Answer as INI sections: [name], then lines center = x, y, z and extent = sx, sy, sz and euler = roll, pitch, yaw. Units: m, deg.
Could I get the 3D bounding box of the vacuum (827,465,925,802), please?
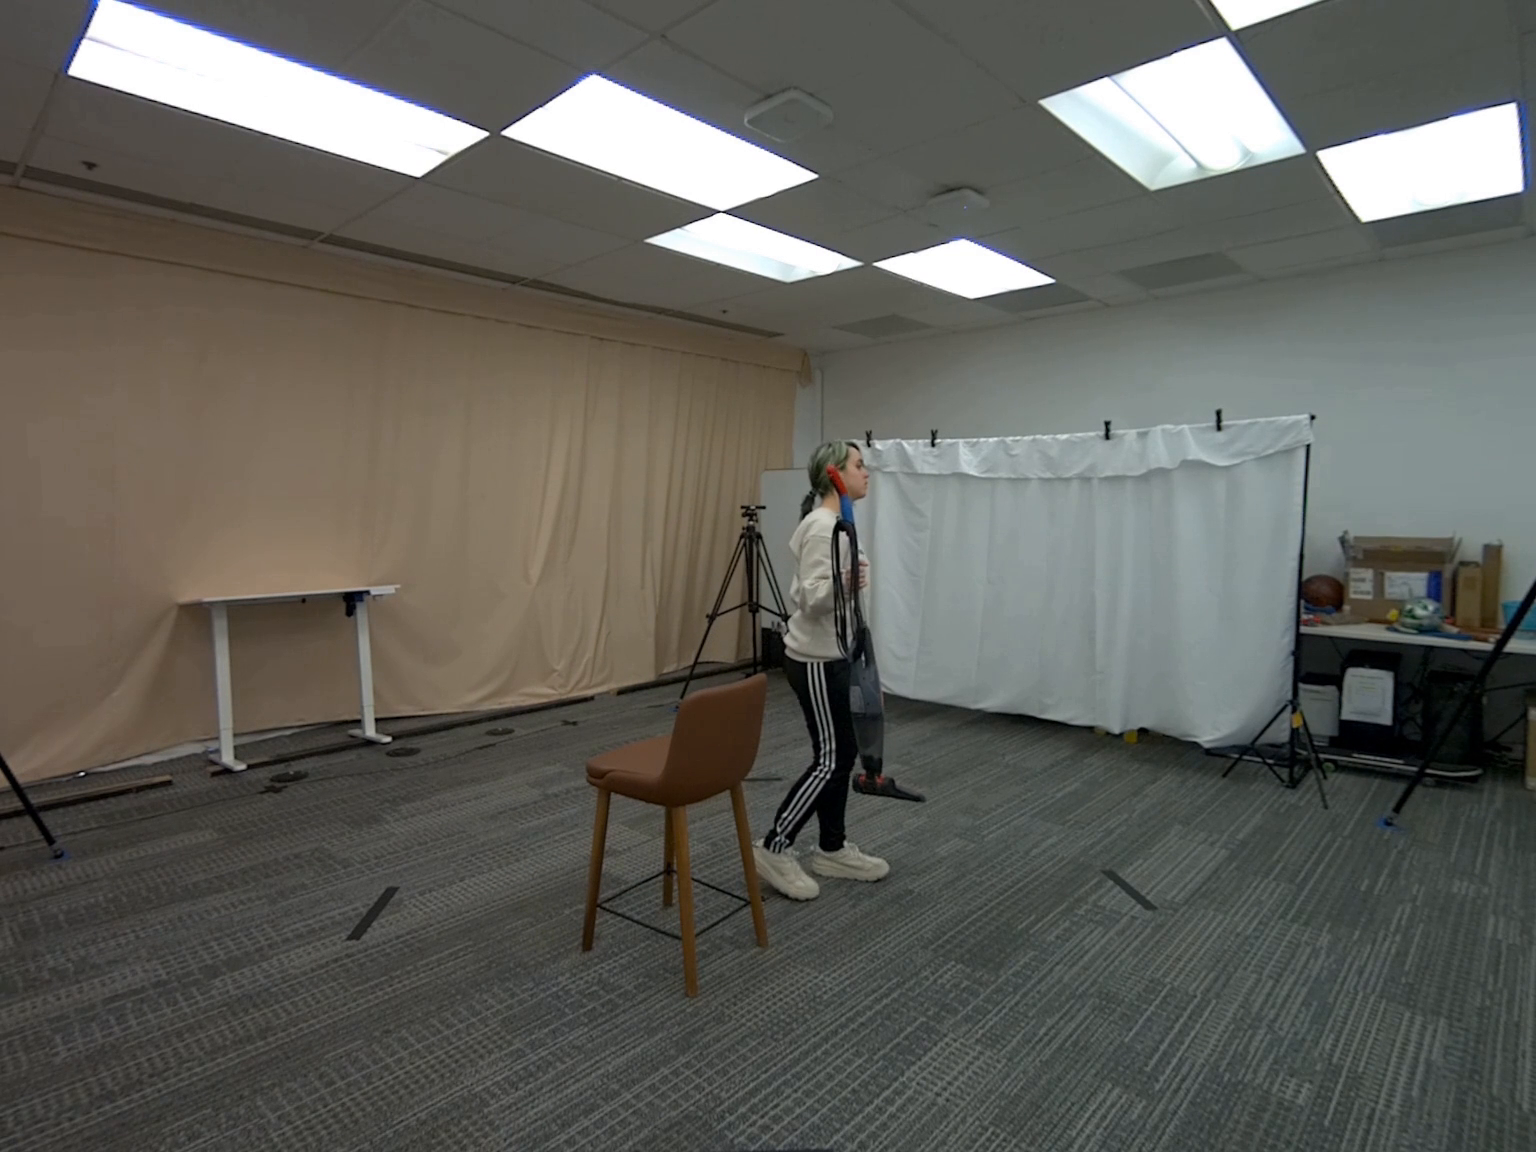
[vacuum]
center = 0.287, 0.169, 2.670
extent = 0.259, 1.045, 0.141
euler = -6, 5, 31
